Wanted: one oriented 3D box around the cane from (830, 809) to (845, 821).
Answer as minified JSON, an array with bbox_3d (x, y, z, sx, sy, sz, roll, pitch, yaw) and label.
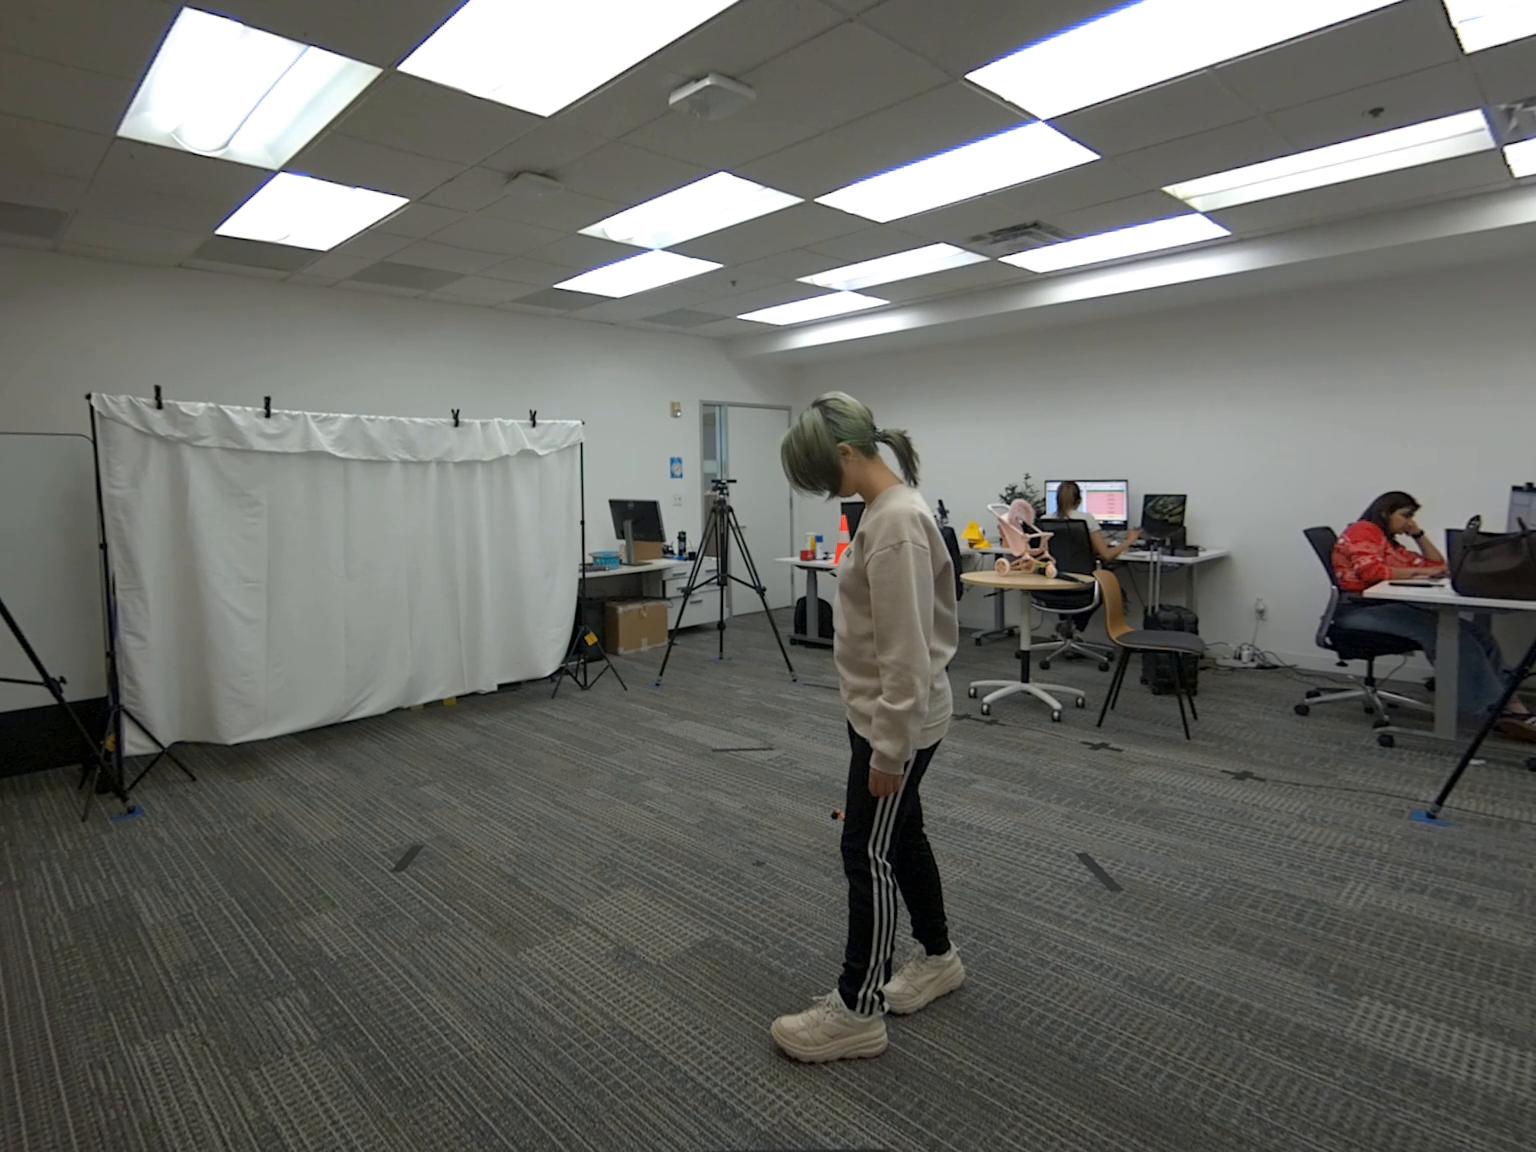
[{"bbox_3d":[0.389,0.655,2.877,0.150,0.887,0.213,-2,44,-12],"label":"cane"}]
